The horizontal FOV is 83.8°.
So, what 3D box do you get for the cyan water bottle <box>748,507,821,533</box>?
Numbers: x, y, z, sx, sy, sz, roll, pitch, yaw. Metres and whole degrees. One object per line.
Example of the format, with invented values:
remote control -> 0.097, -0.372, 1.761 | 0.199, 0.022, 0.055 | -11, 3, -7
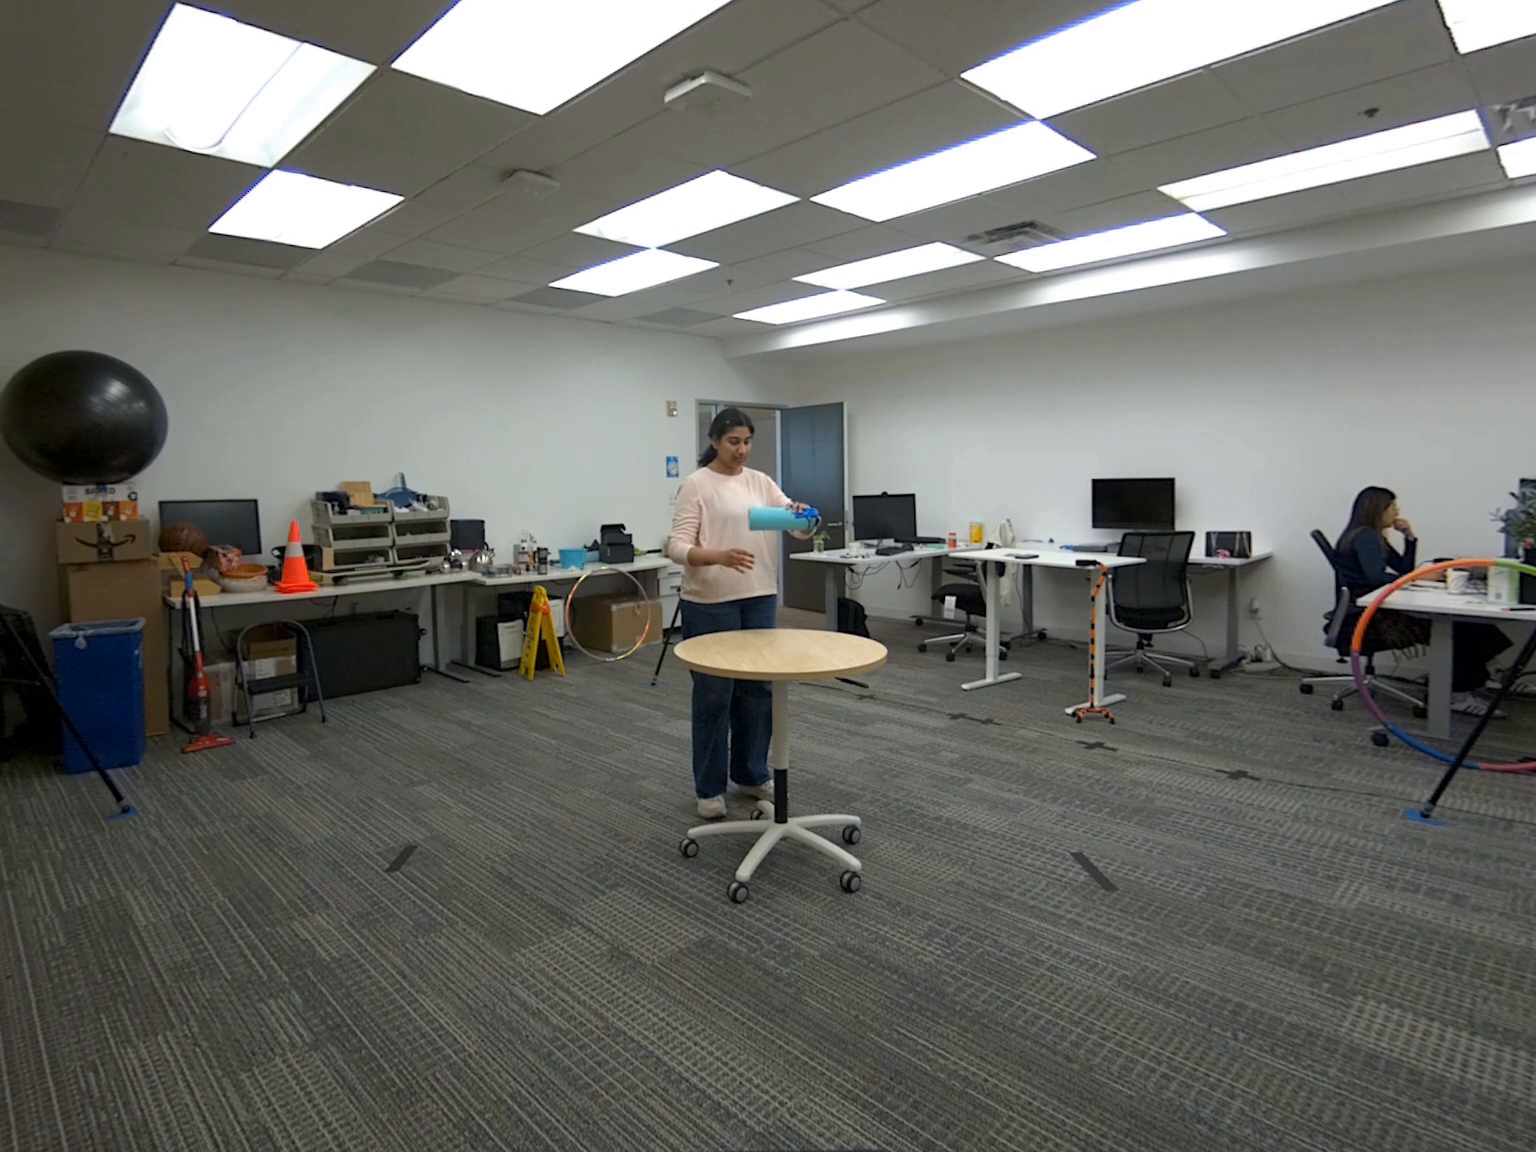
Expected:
cyan water bottle -> 0.074, -0.223, 3.347 | 0.283, 0.092, 0.093 | -2, 5, -2
